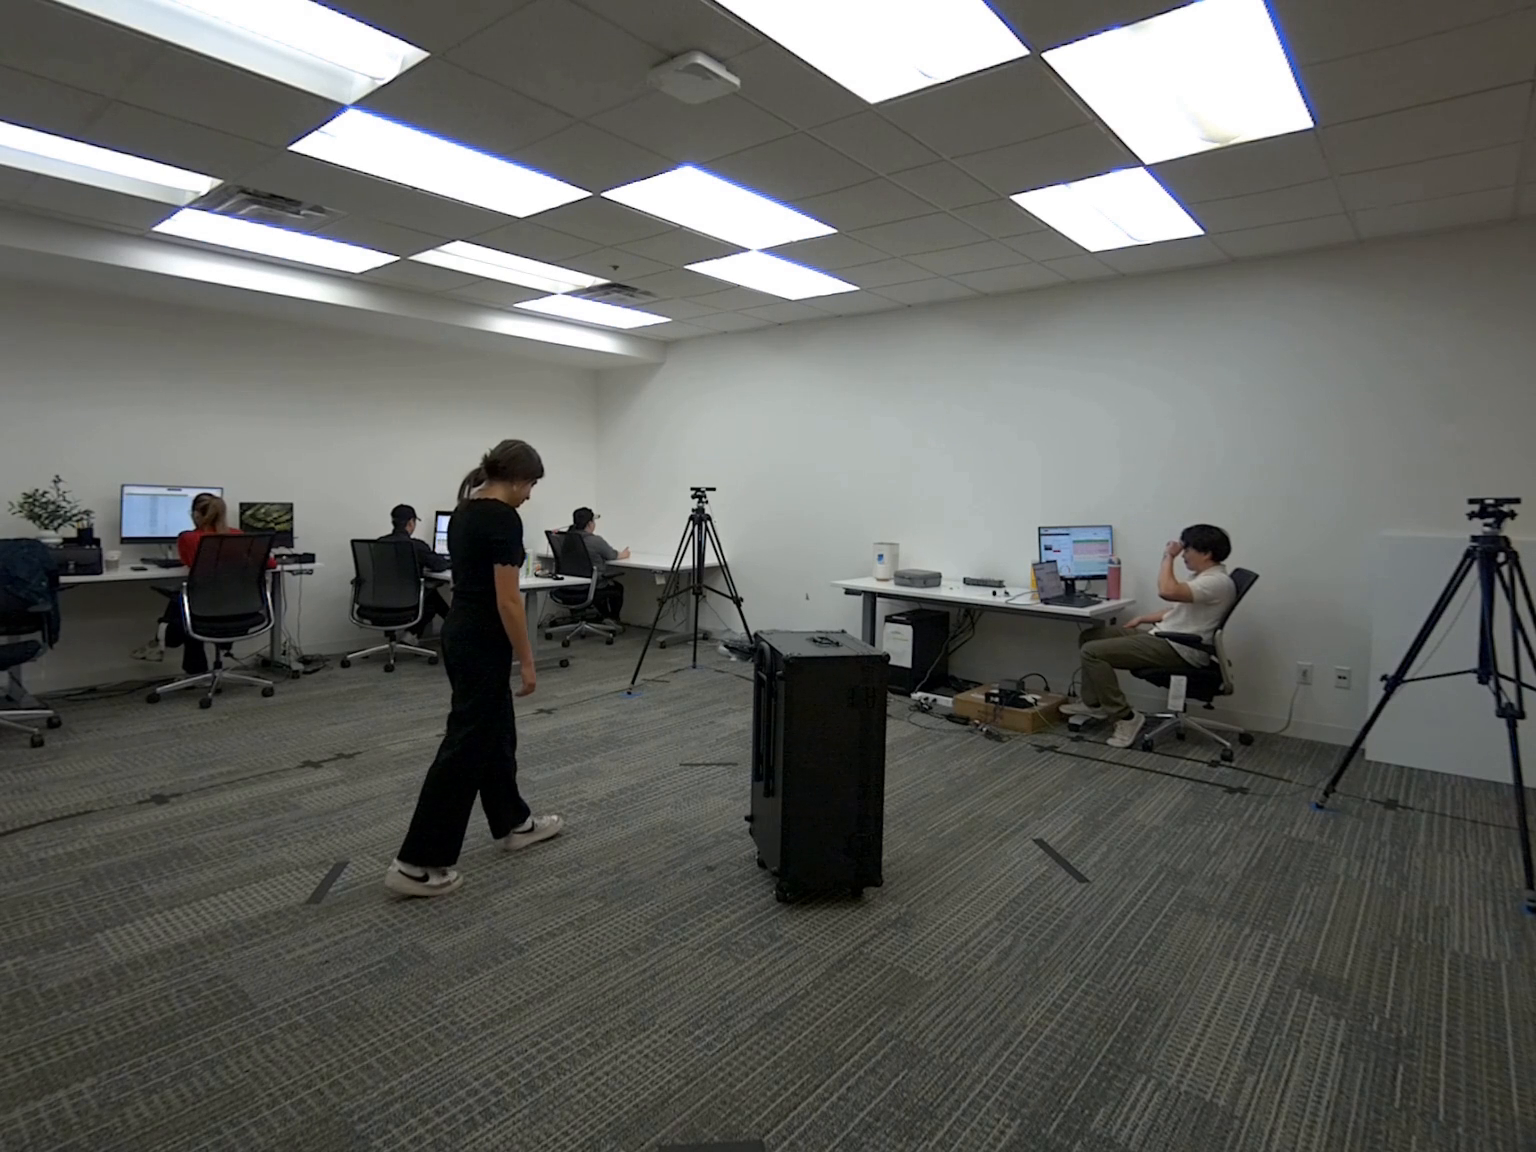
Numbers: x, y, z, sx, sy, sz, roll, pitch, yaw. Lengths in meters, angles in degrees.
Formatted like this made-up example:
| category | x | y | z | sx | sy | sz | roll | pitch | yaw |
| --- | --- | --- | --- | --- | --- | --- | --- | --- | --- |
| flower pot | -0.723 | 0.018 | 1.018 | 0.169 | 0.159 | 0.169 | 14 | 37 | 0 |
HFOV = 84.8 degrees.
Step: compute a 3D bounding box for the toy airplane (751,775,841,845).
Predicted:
| category | x | y | z | sx | sy | sz | roll | pitch | yaw |
| --- | --- | --- | --- | --- | --- | --- | --- | --- | --- |
| toy airplane | 0.113 | 0.959 | 3.482 | 0.251 | 0.156 | 0.259 | -1 | 6 | -37 |
